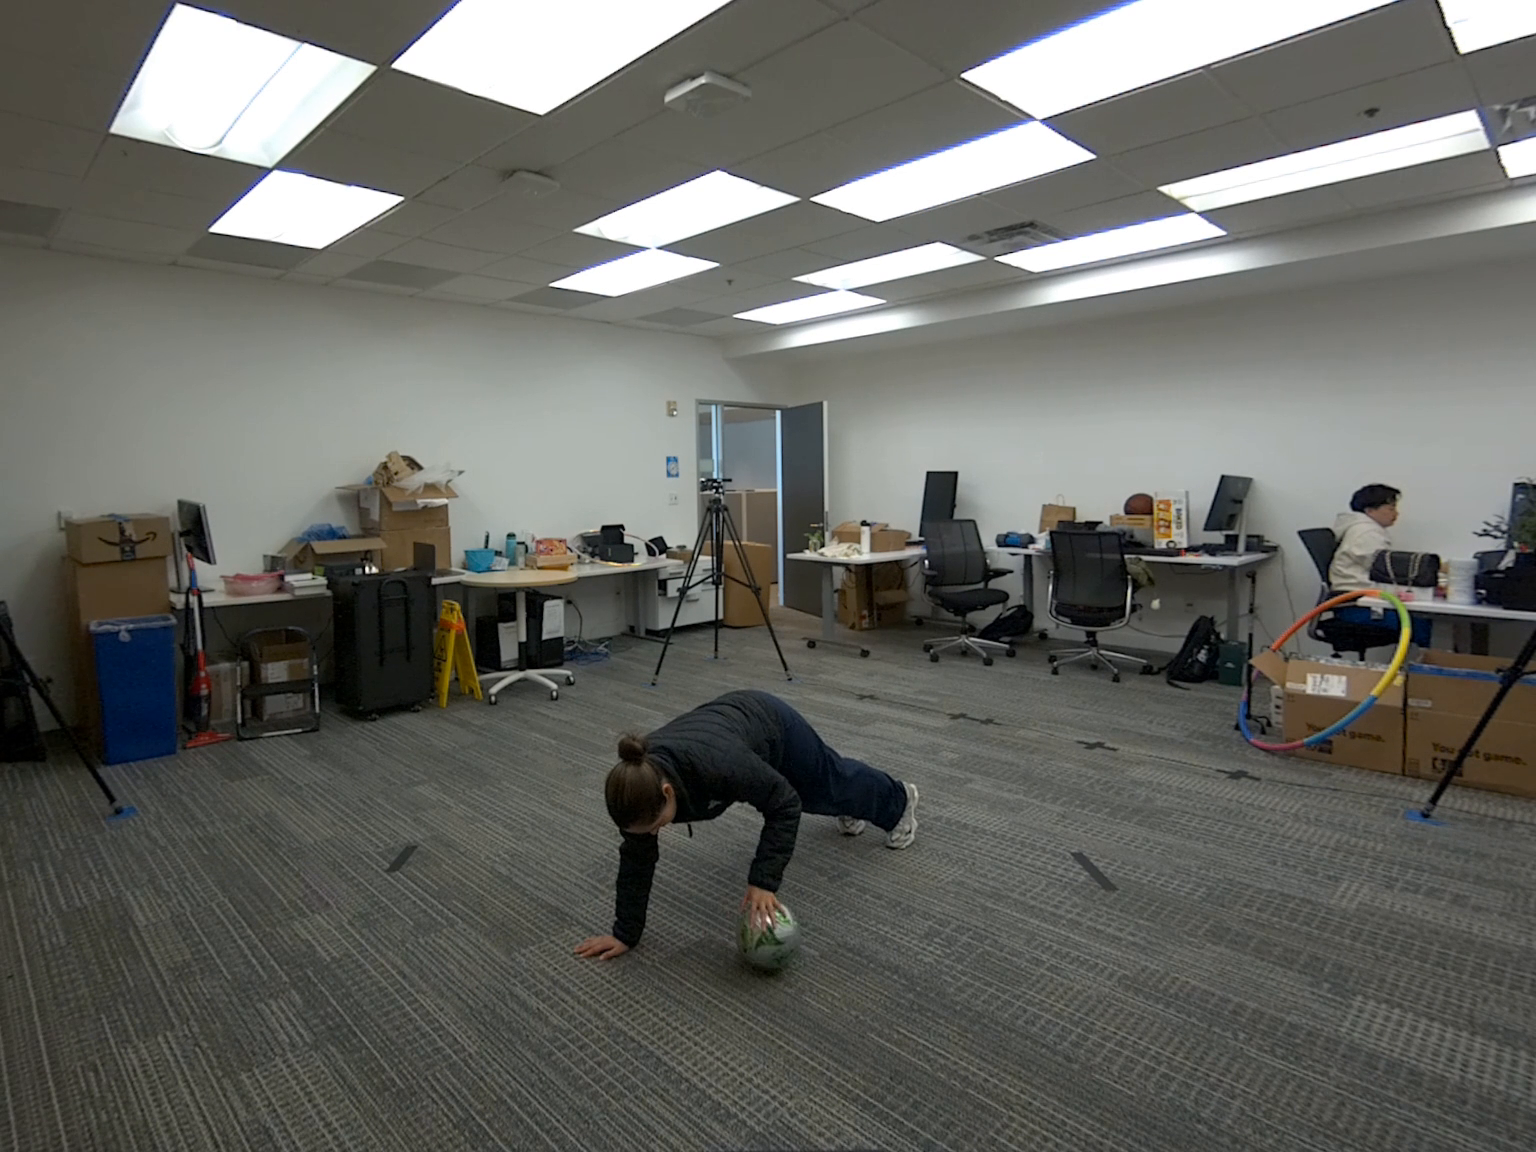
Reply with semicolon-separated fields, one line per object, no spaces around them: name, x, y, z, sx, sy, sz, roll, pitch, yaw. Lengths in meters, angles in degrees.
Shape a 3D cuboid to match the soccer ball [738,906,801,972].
soccer ball;-0.008;1.029;2.449;0.187;0.187;0.188;-1;5;-2
